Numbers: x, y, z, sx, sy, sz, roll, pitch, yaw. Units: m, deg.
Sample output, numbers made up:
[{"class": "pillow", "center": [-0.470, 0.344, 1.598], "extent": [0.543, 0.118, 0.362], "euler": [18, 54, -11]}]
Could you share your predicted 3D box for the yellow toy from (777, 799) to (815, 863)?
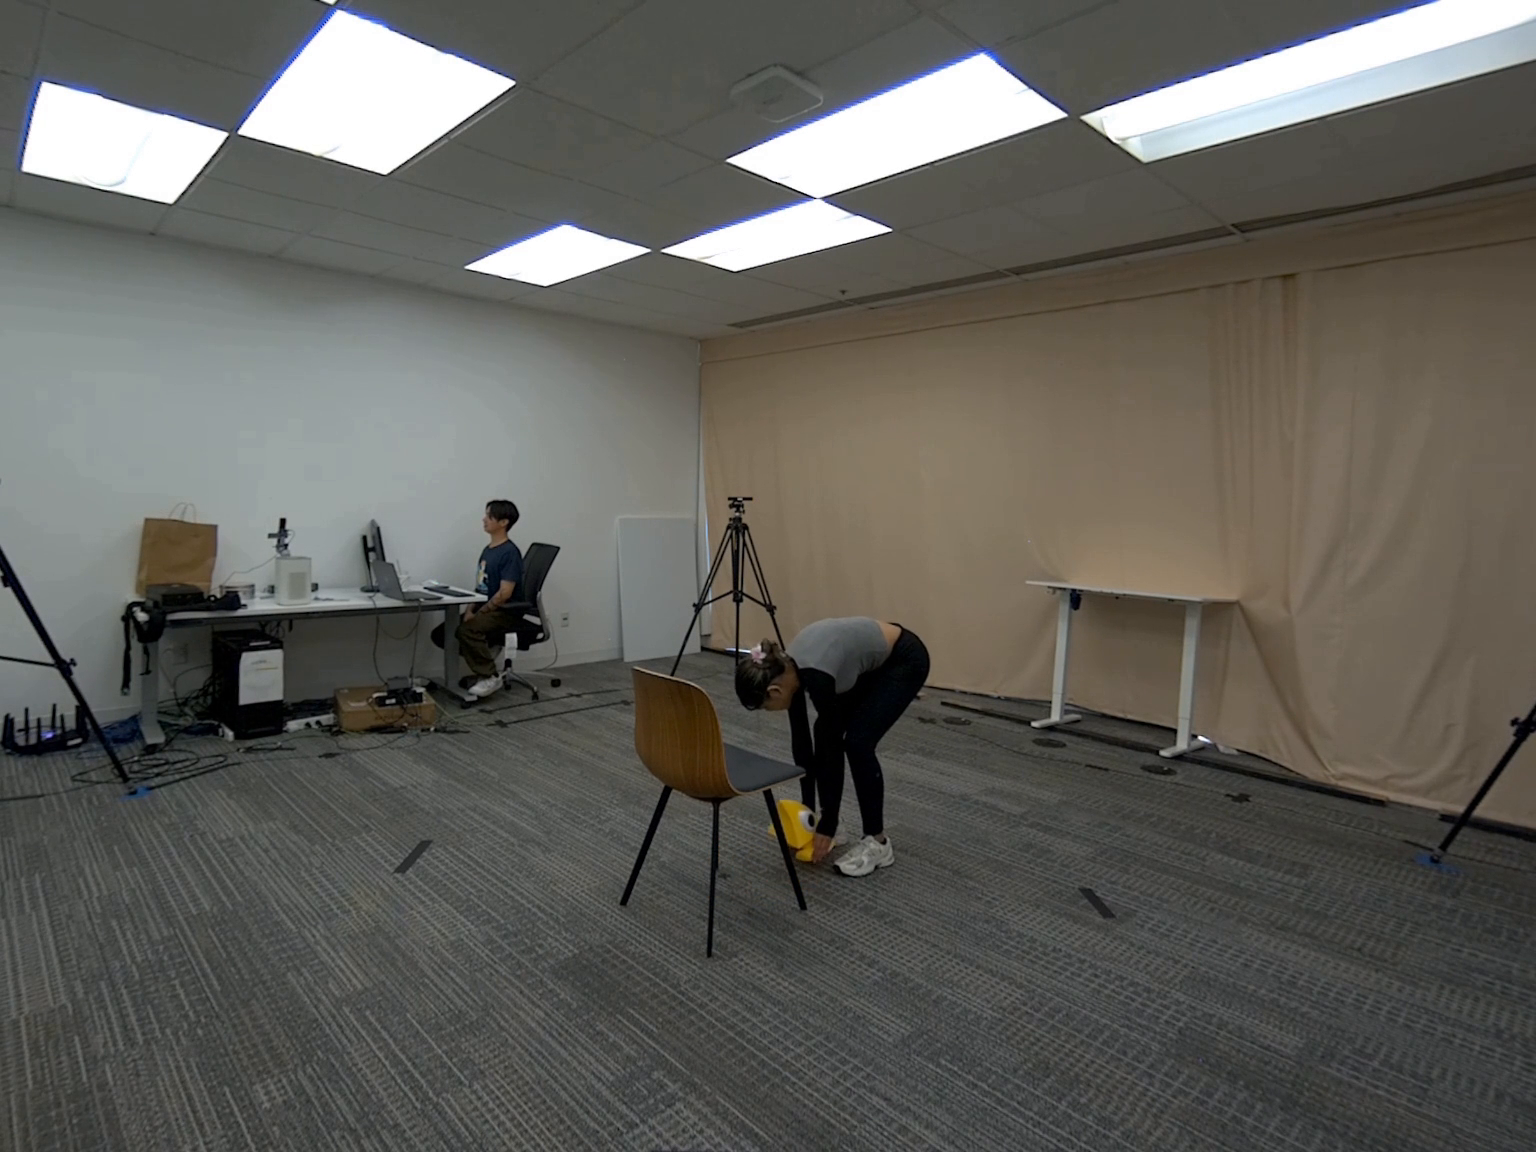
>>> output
[{"class": "yellow toy", "center": [0.110, 0.924, 3.197], "extent": [0.190, 0.228, 0.209], "euler": [-21, 12, -30]}]
